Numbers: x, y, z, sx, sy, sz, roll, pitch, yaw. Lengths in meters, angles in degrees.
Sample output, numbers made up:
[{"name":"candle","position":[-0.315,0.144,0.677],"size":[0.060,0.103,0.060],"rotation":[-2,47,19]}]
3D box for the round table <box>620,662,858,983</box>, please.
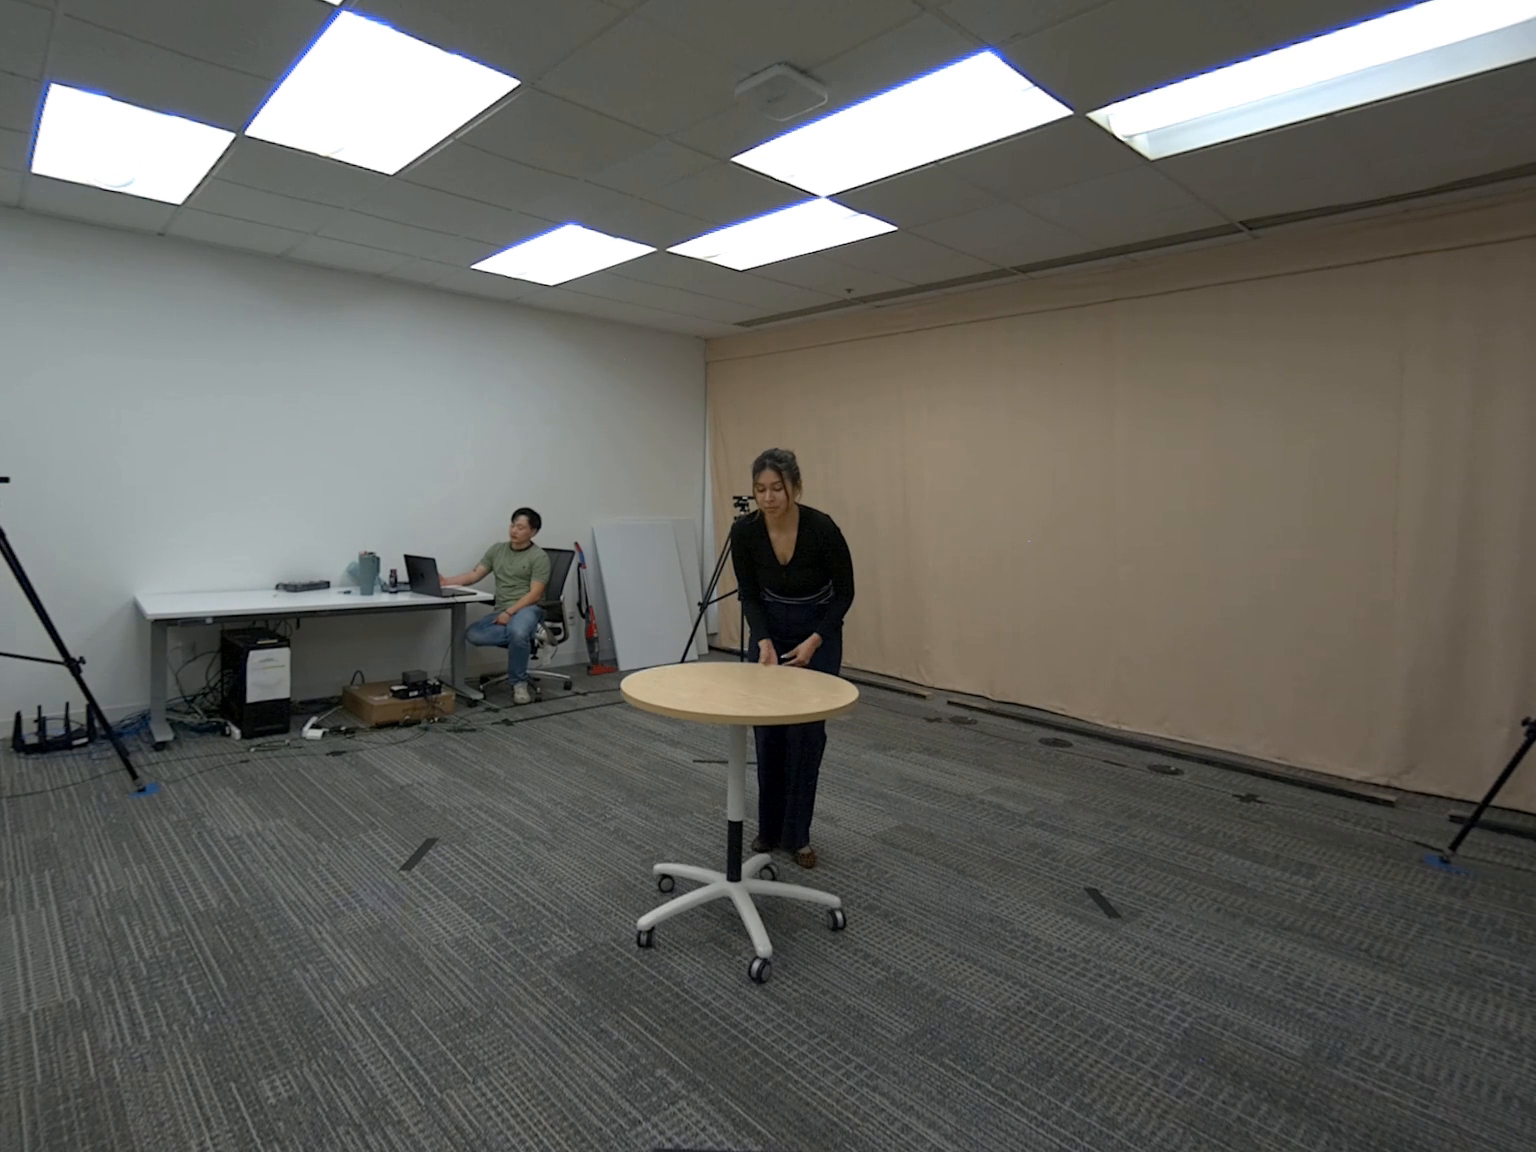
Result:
[{"name":"round table","position":[-0.104,0.749,2.738],"size":[0.763,0.792,0.767],"rotation":[1,4,-1]}]
